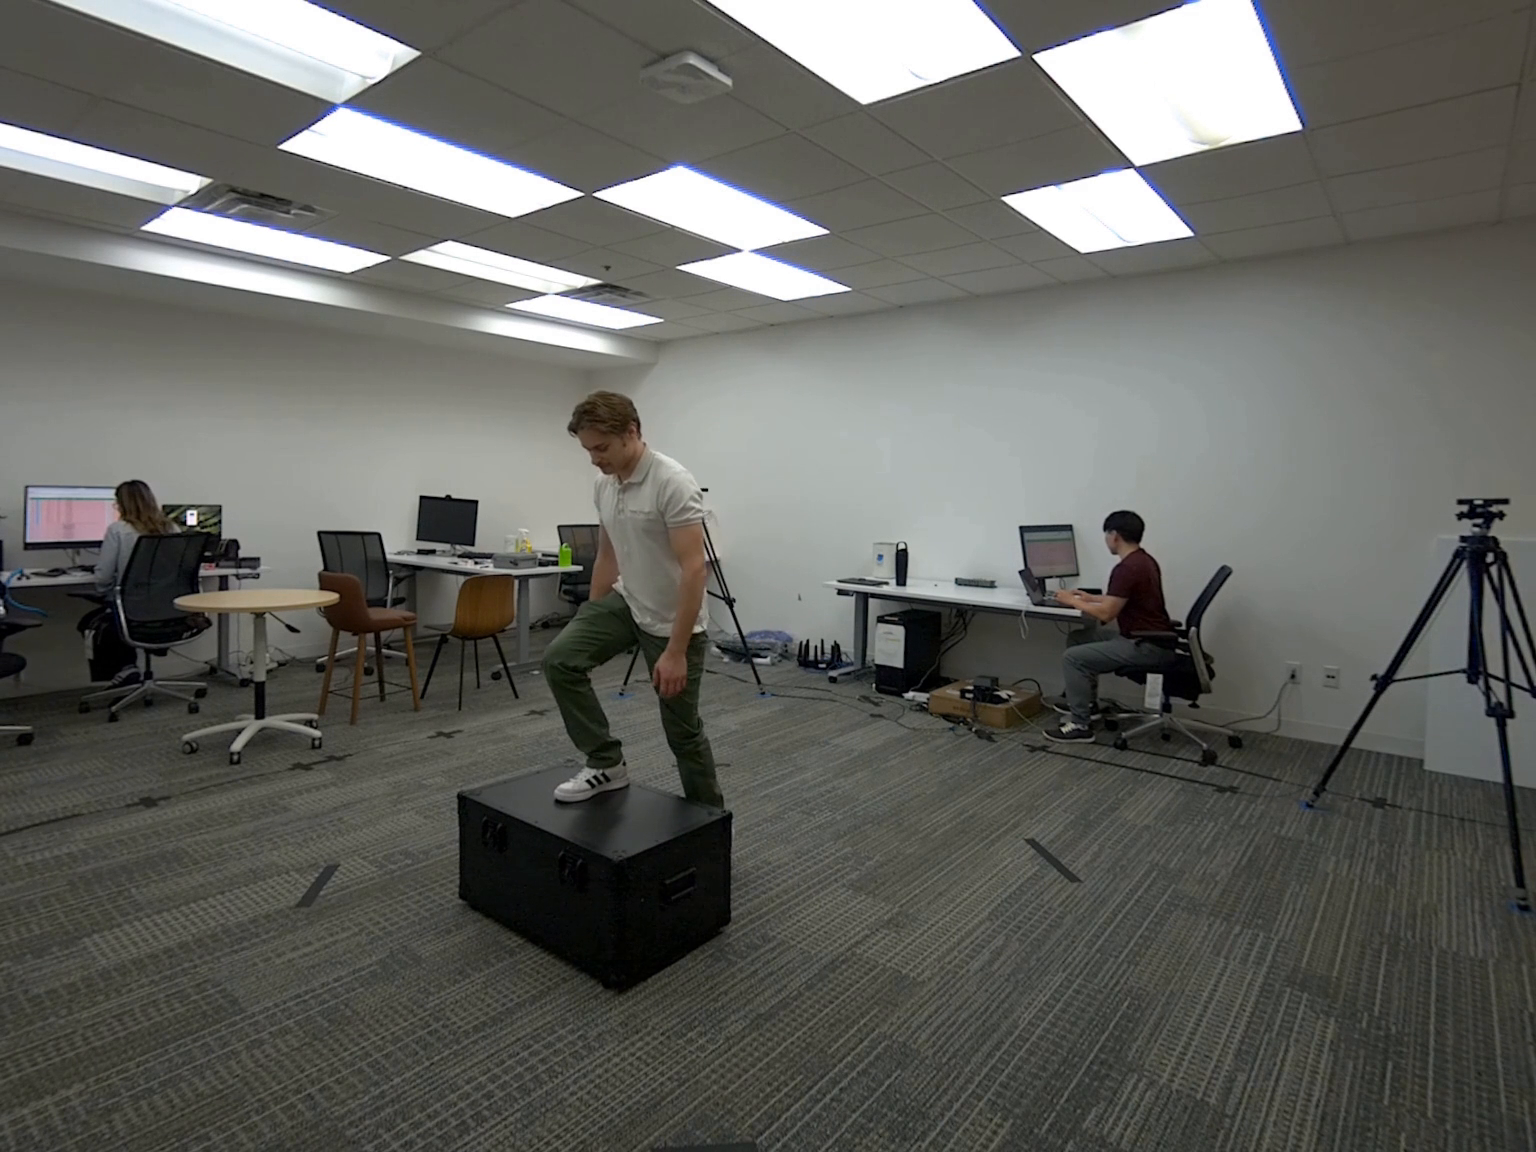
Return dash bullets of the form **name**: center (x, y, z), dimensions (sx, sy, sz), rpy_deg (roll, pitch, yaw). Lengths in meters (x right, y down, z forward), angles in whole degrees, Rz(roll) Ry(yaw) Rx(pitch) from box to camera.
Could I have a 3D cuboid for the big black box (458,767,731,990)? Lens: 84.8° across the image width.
- **big black box**: center (-0.601, 0.903, 2.764), dimensions (0.897, 0.383, 0.509), rpy_deg (4, 7, 39)
